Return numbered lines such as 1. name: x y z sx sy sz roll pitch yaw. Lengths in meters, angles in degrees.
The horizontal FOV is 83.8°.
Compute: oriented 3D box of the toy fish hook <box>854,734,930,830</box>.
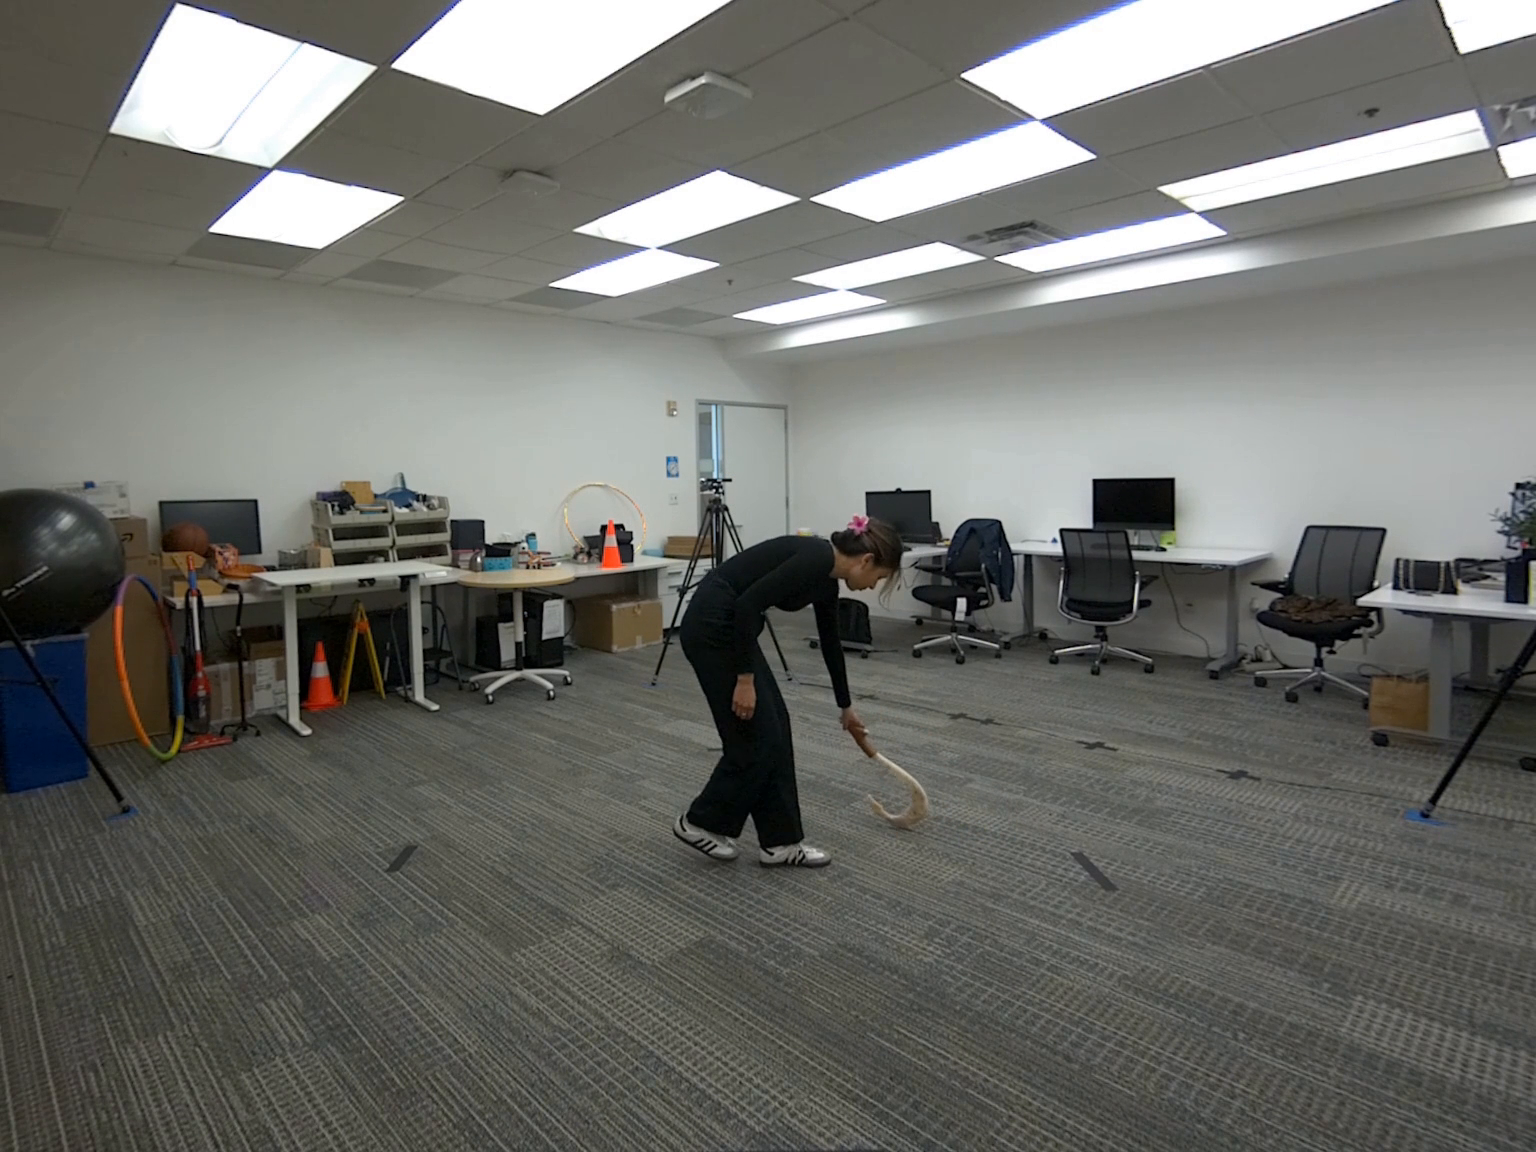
1. toy fish hook: 0.427 0.782 3.411 0.225 0.514 0.047 -41 -11 17
